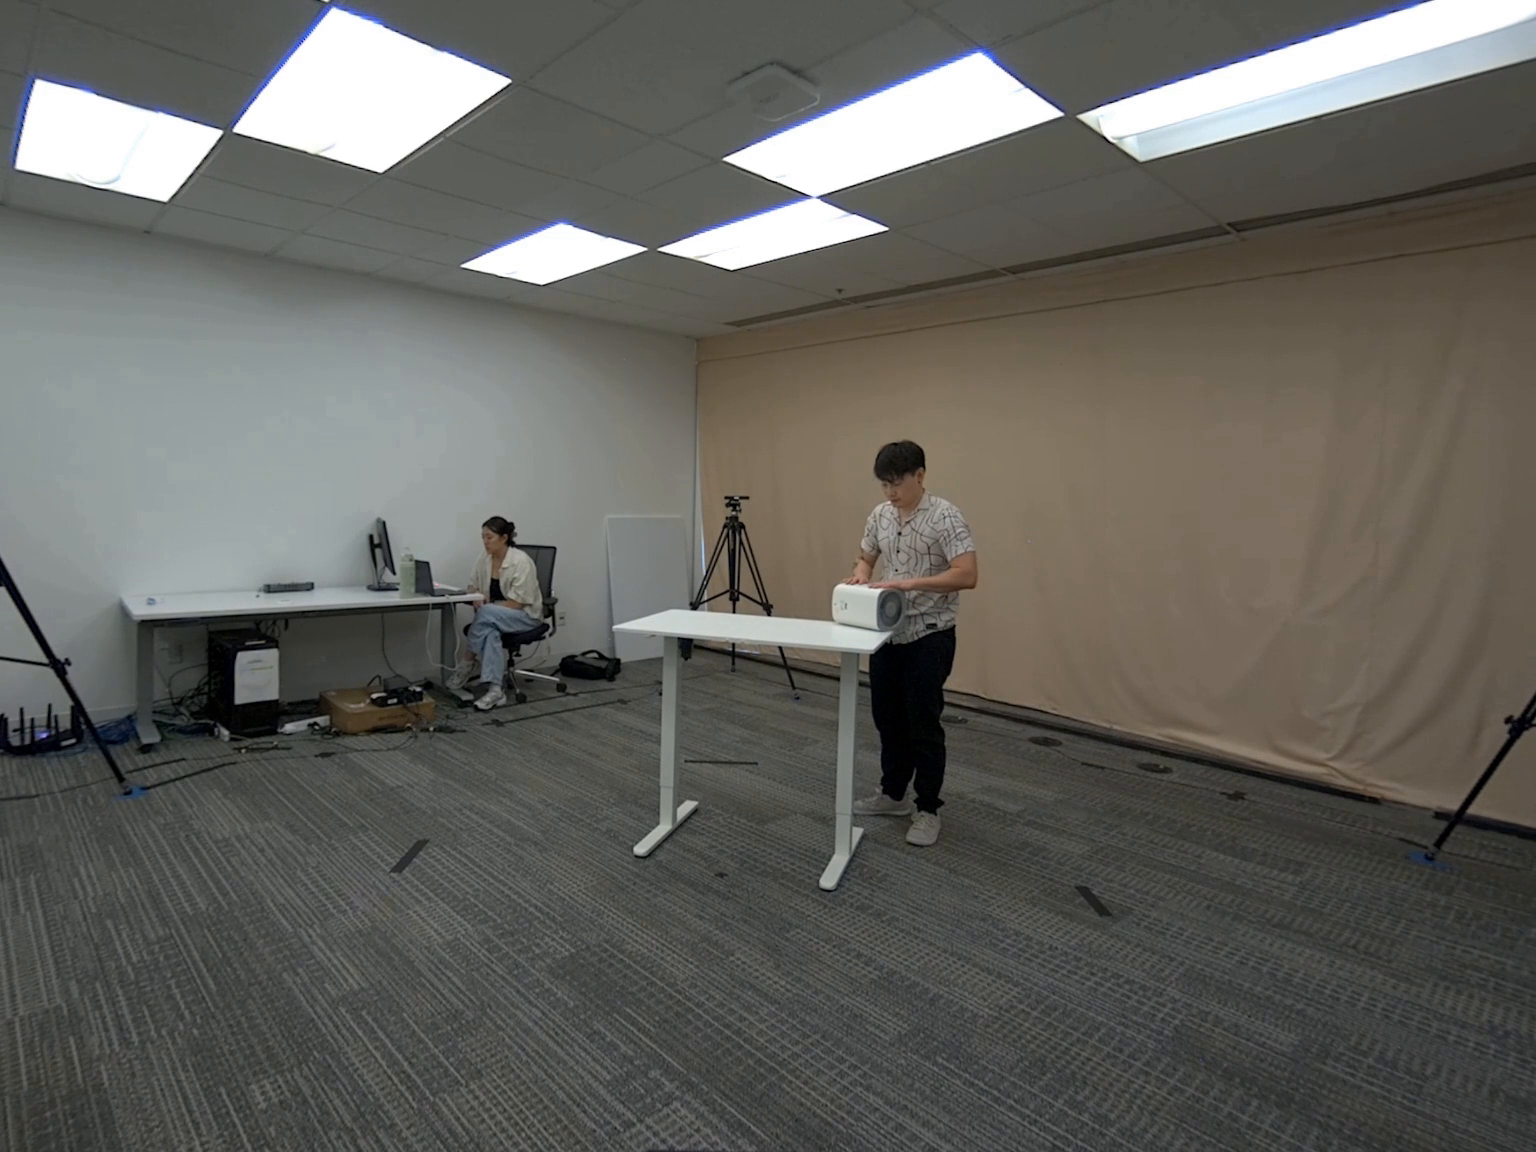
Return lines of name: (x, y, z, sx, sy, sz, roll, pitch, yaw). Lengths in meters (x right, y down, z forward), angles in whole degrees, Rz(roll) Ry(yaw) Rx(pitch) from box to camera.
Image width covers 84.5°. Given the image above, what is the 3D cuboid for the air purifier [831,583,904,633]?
air purifier: (0.399, 0.118, 3.432, 0.168, 0.170, 0.272, -3, 5, -39)
